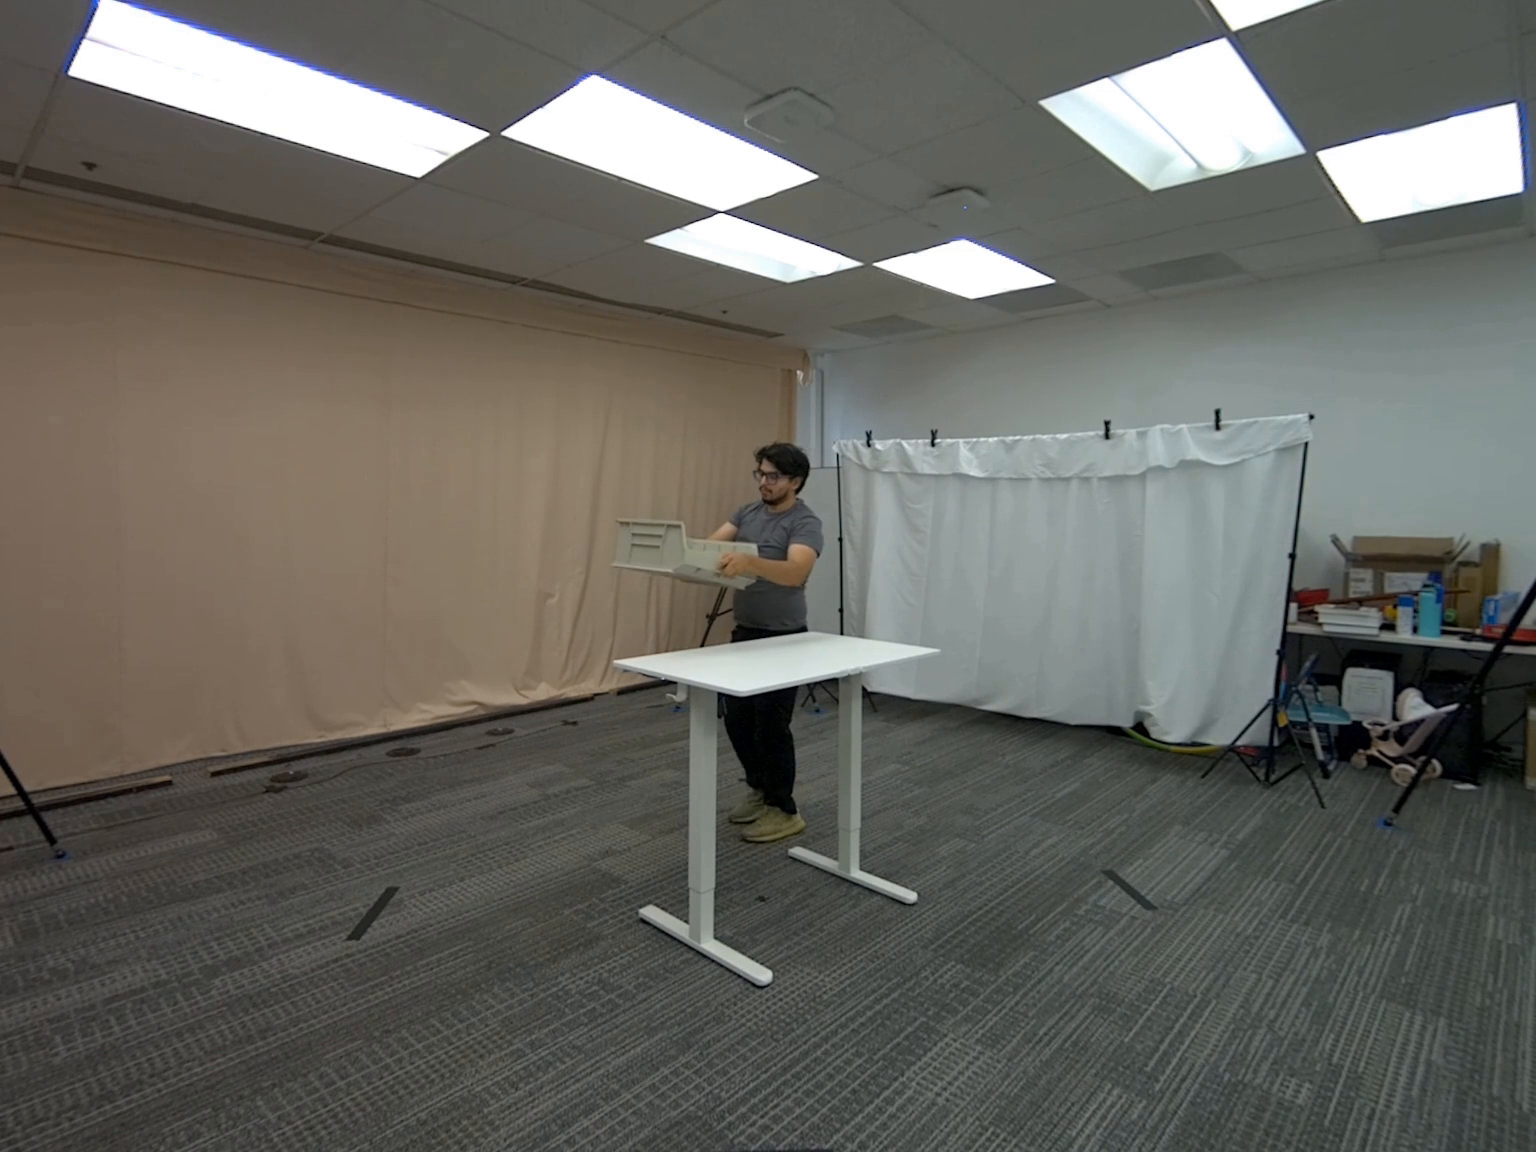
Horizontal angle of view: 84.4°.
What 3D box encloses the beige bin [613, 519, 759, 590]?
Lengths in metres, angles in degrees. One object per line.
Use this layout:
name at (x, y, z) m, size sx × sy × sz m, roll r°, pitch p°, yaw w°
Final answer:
beige bin at (-0.304, -0.077, 3.139) m, size 0.390 × 0.189 × 0.407 m, roll 5°, pitch -5°, yaw 40°
